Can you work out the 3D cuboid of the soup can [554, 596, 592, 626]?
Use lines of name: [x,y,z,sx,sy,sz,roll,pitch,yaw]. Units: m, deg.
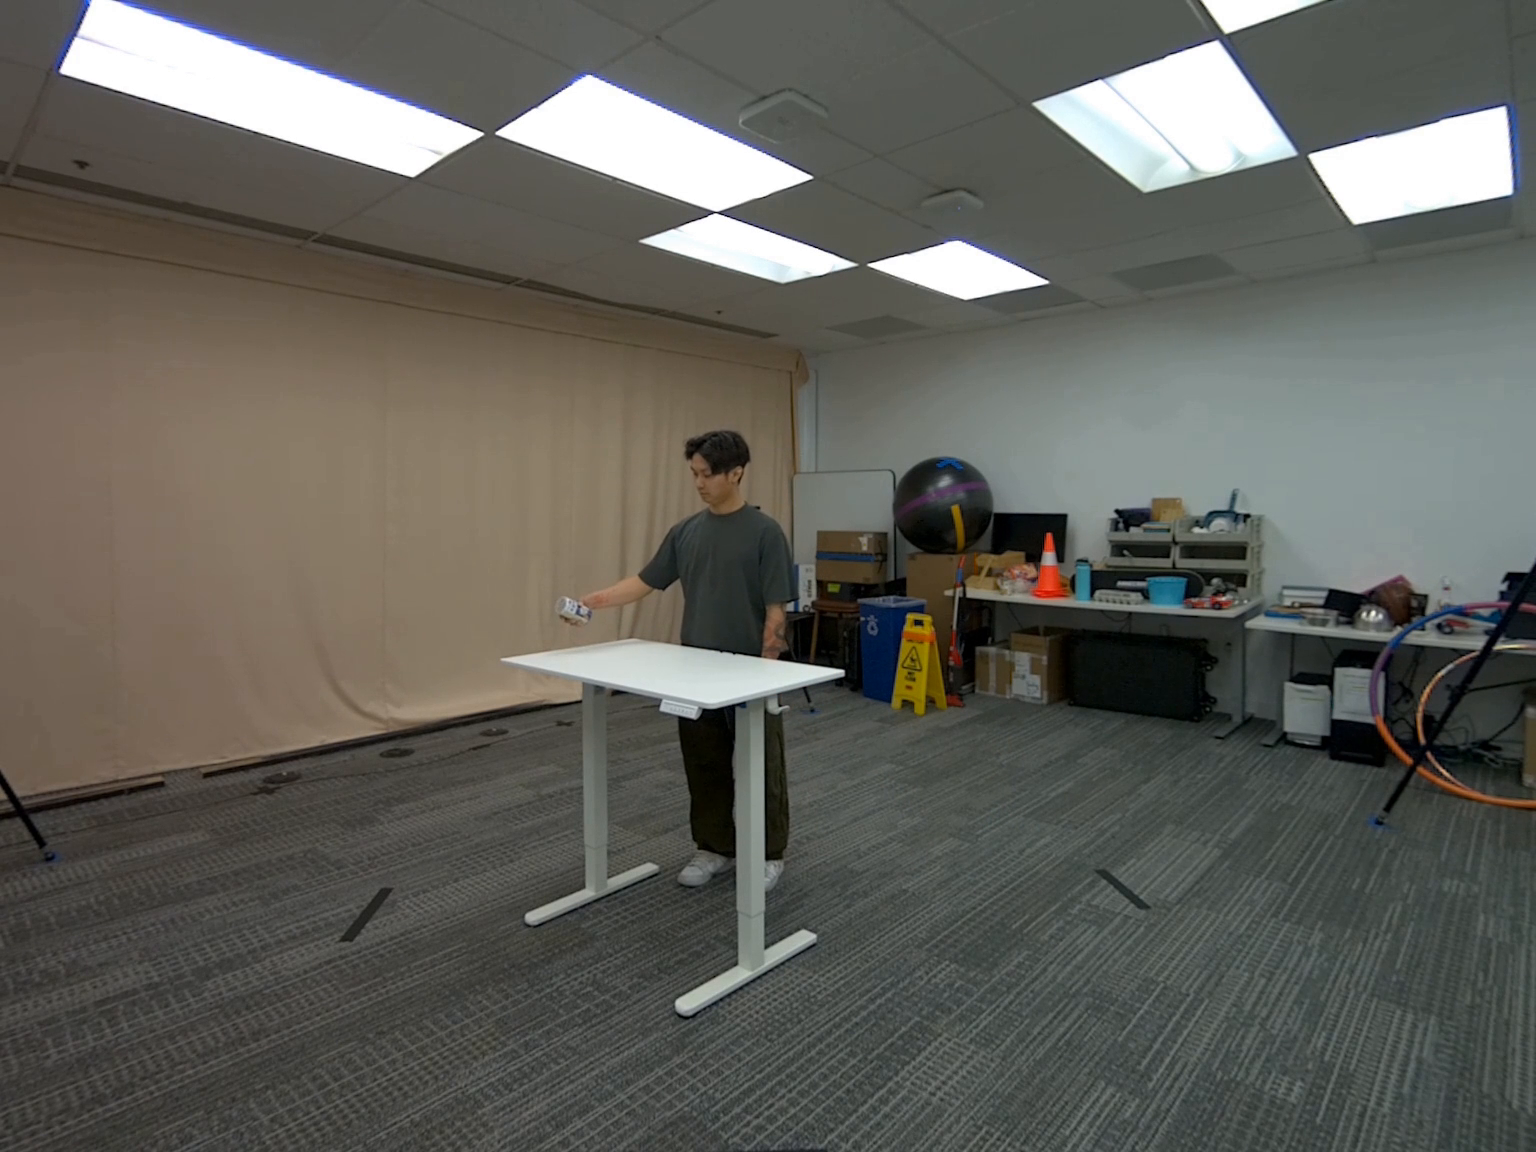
soup can: [-0.682,0.121,2.998,0.119,0.067,0.068,20,-3,-19]
